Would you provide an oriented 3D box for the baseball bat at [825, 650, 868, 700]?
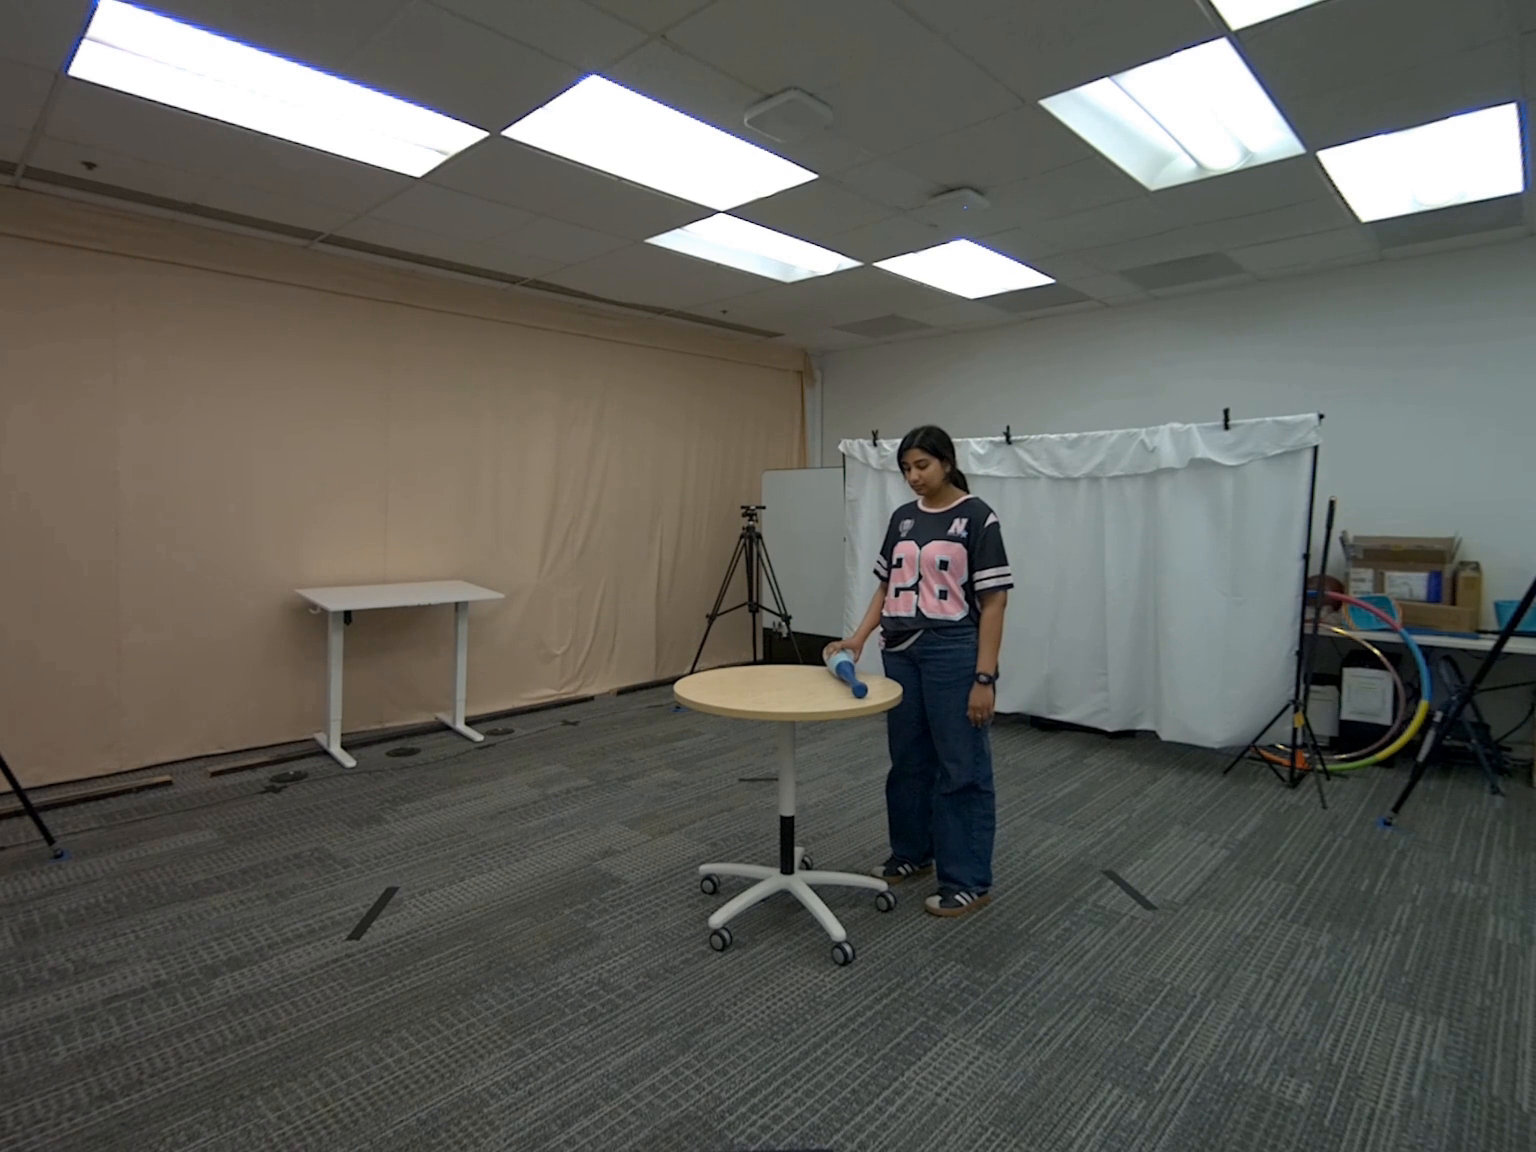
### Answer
[{"bbox_3d":[0.282,0.329,2.895,0.088,0.089,0.548,-1,7,-7],"label":"baseball bat"}]
